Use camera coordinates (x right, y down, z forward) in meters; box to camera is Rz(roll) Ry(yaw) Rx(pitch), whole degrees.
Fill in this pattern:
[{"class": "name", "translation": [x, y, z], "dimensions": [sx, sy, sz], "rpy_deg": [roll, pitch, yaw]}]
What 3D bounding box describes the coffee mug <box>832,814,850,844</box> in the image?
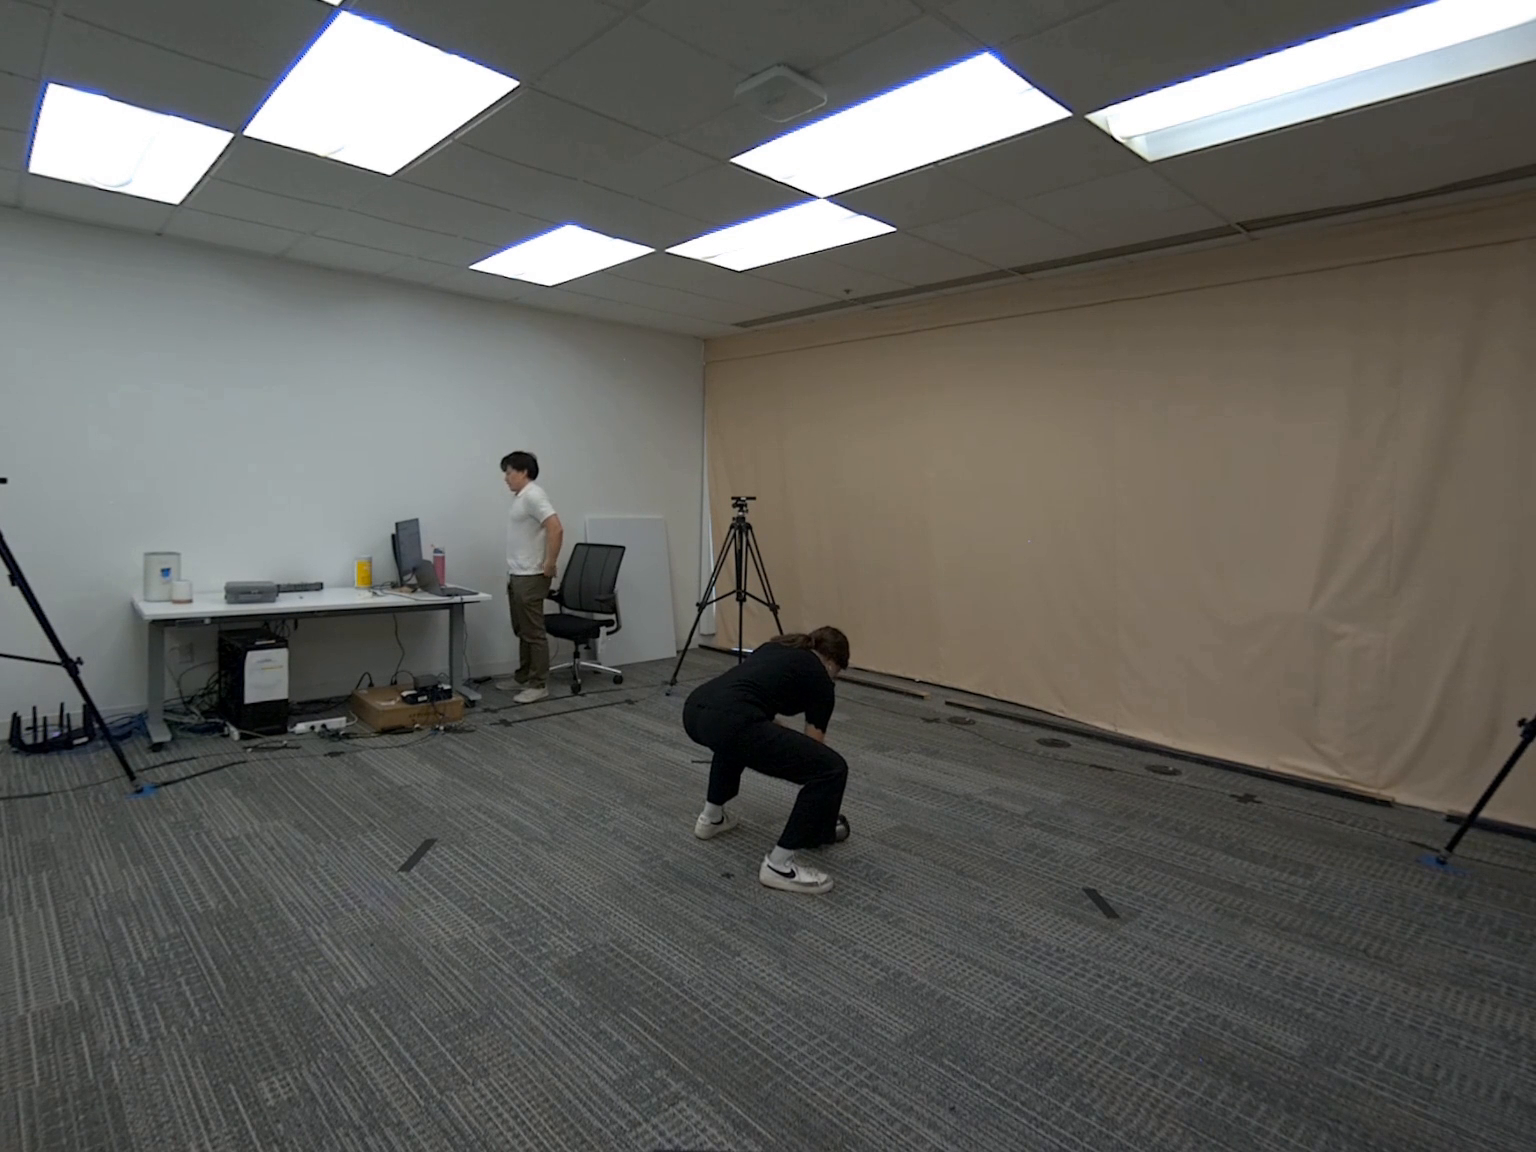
[{"class": "coffee mug", "translation": [0.231, 1.038, 3.412], "dimensions": [0.199, 0.090, 0.121], "rpy_deg": [-2, -31, -29]}]
